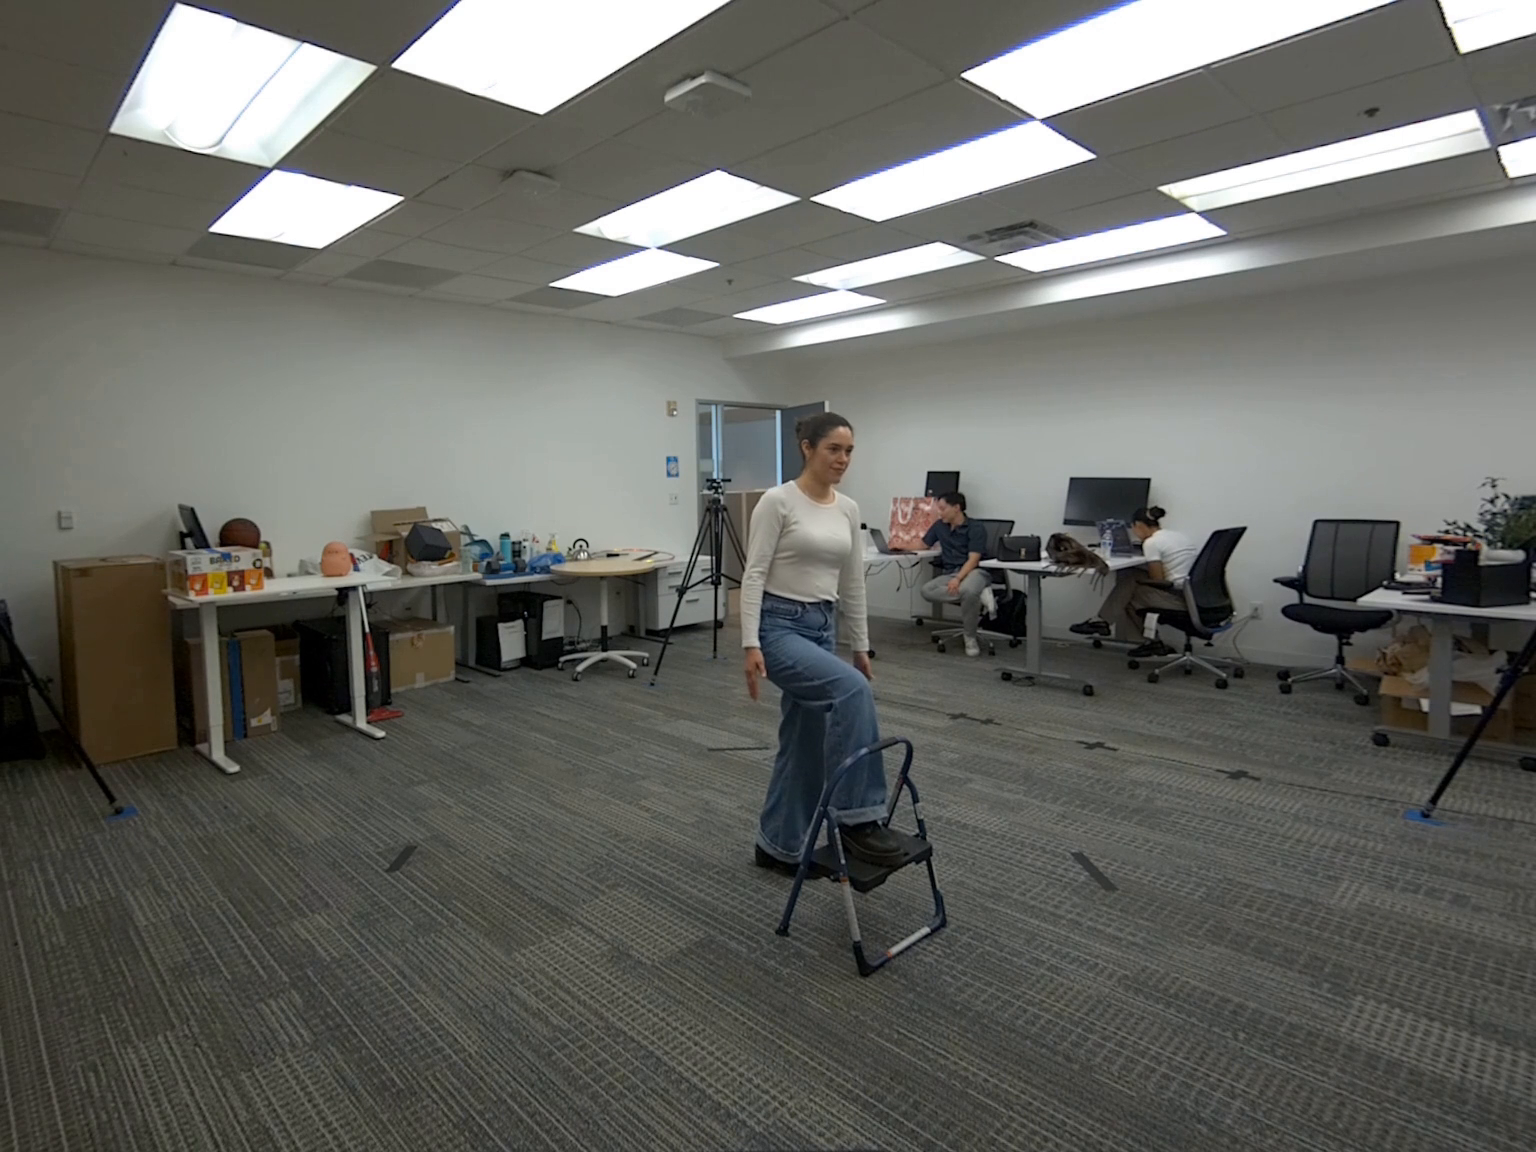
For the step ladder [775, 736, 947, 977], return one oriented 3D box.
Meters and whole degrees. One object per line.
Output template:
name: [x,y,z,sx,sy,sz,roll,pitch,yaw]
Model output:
step ladder: [0.292,0.793,2.626,0.360,0.603,0.419,4,7,45]
